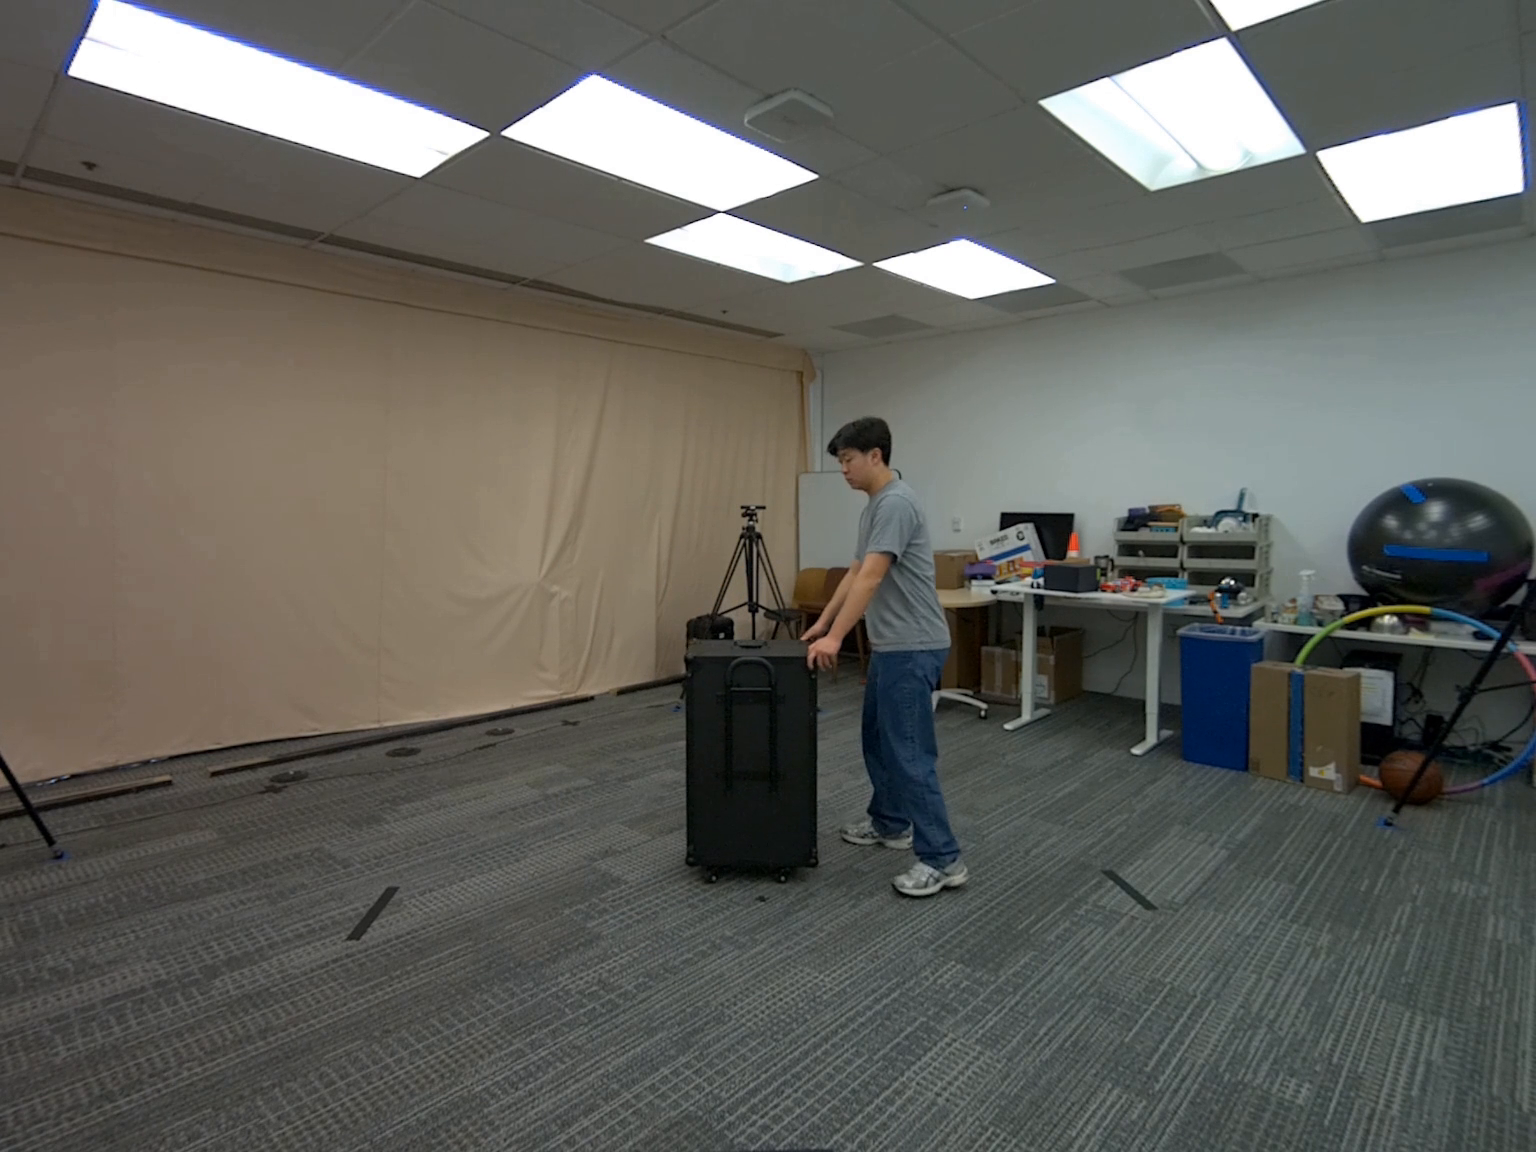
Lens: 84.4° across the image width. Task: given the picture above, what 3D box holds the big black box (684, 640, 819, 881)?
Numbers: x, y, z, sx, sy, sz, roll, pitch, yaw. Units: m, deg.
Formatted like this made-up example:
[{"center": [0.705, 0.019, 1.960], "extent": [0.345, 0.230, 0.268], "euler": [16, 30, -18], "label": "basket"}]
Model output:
[{"center": [-0.062, 0.705, 3.226], "extent": [0.523, 0.859, 0.396], "euler": [0, 4, 2], "label": "big black box"}]
